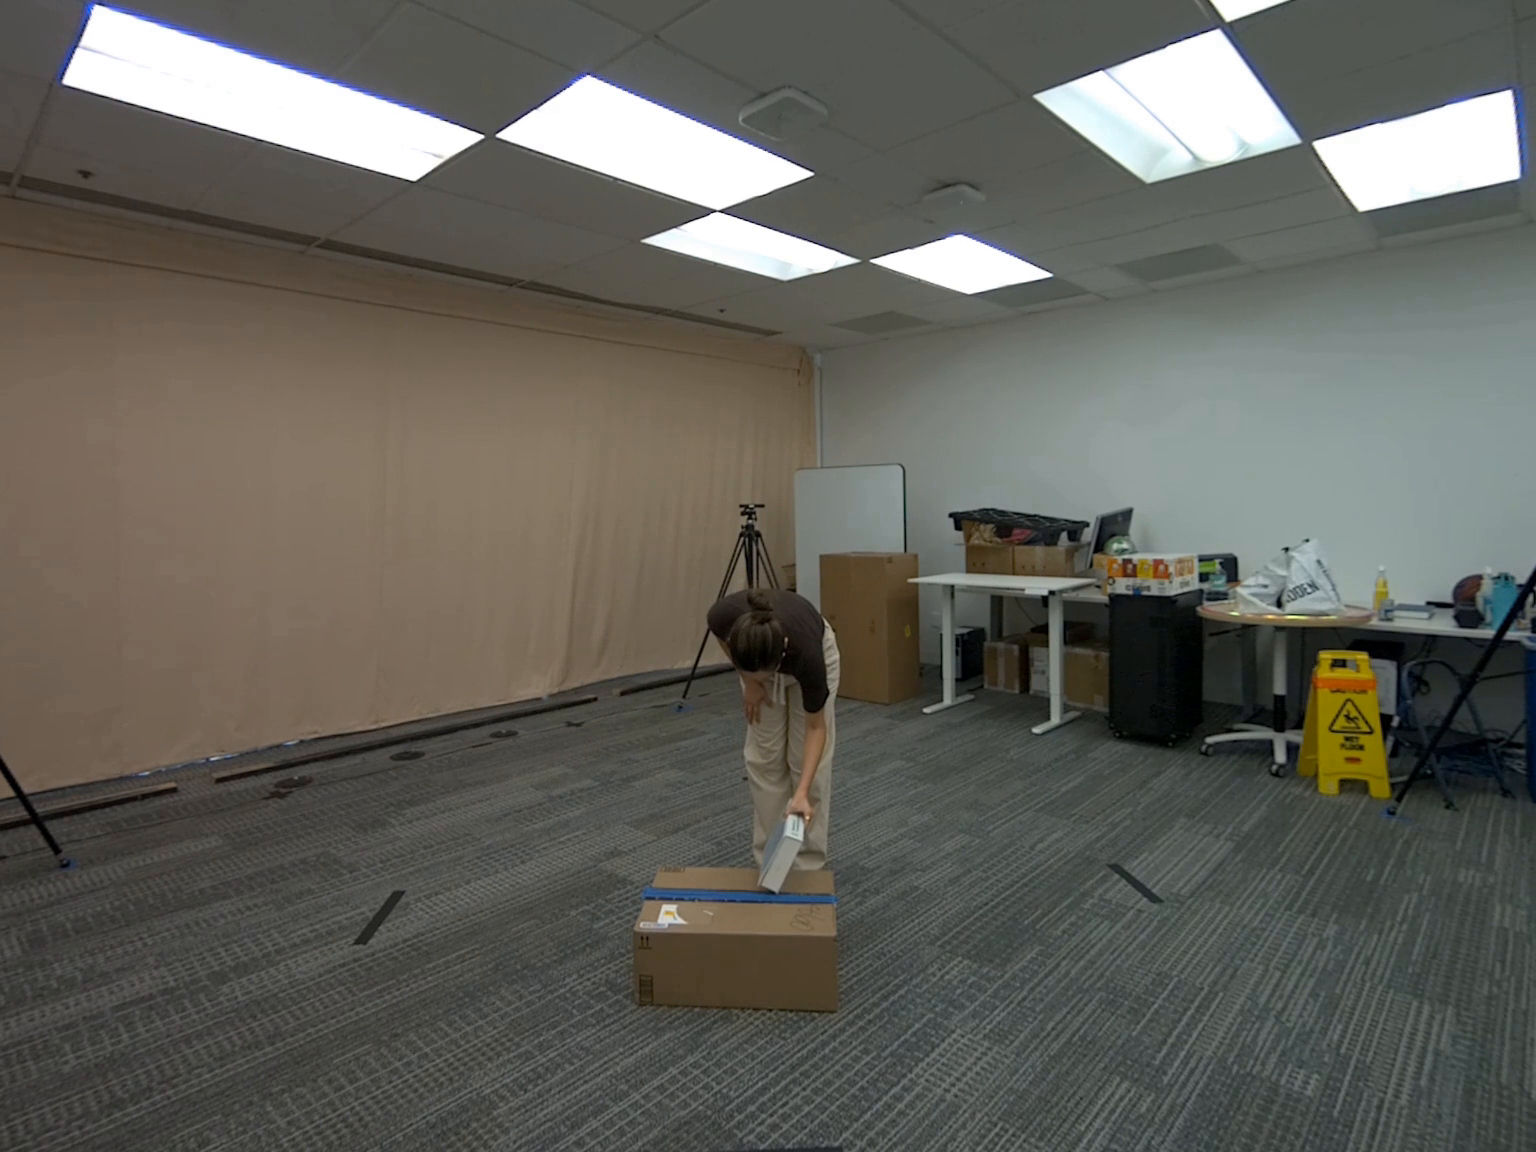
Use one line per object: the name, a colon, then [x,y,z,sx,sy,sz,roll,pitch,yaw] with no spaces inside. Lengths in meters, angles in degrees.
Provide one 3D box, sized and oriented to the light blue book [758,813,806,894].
light blue book: [0.047,0.830,2.629,0.059,0.191,0.261,20,10,0]
